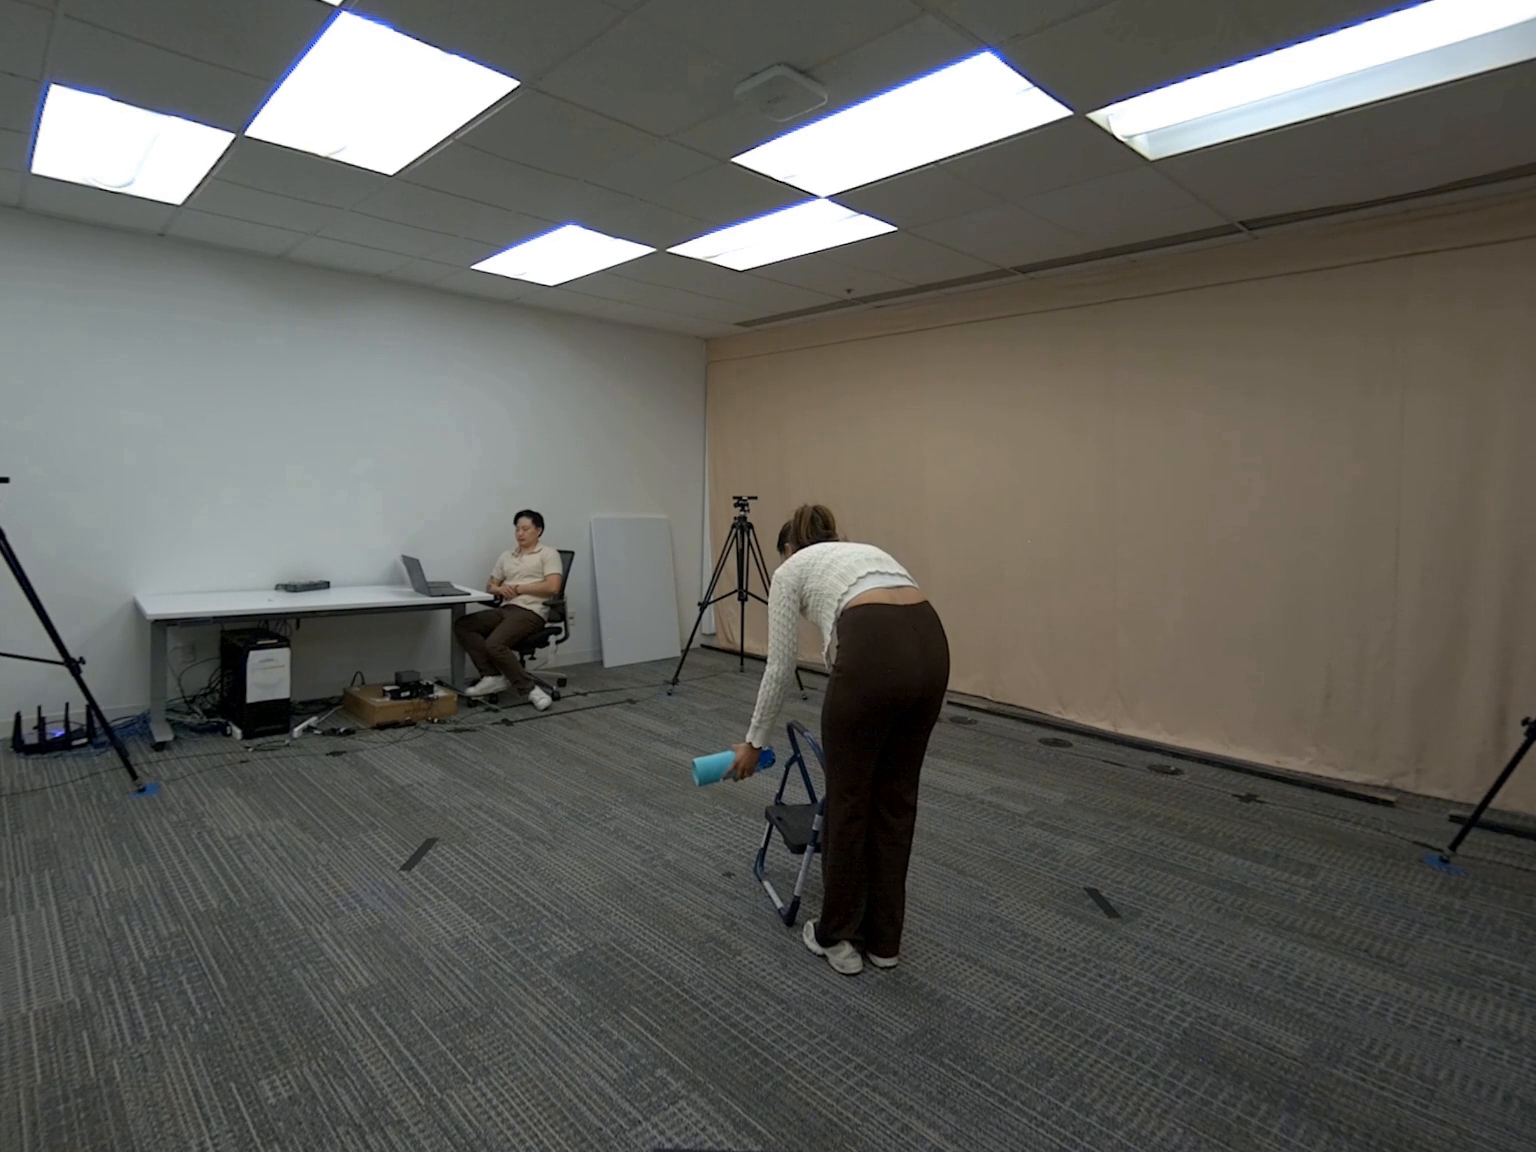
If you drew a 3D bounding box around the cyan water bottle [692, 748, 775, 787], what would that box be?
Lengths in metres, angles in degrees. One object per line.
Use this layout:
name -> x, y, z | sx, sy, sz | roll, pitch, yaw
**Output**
cyan water bottle -> -0.108, 0.619, 2.792 | 0.281, 0.092, 0.093 | -8, 6, -13
